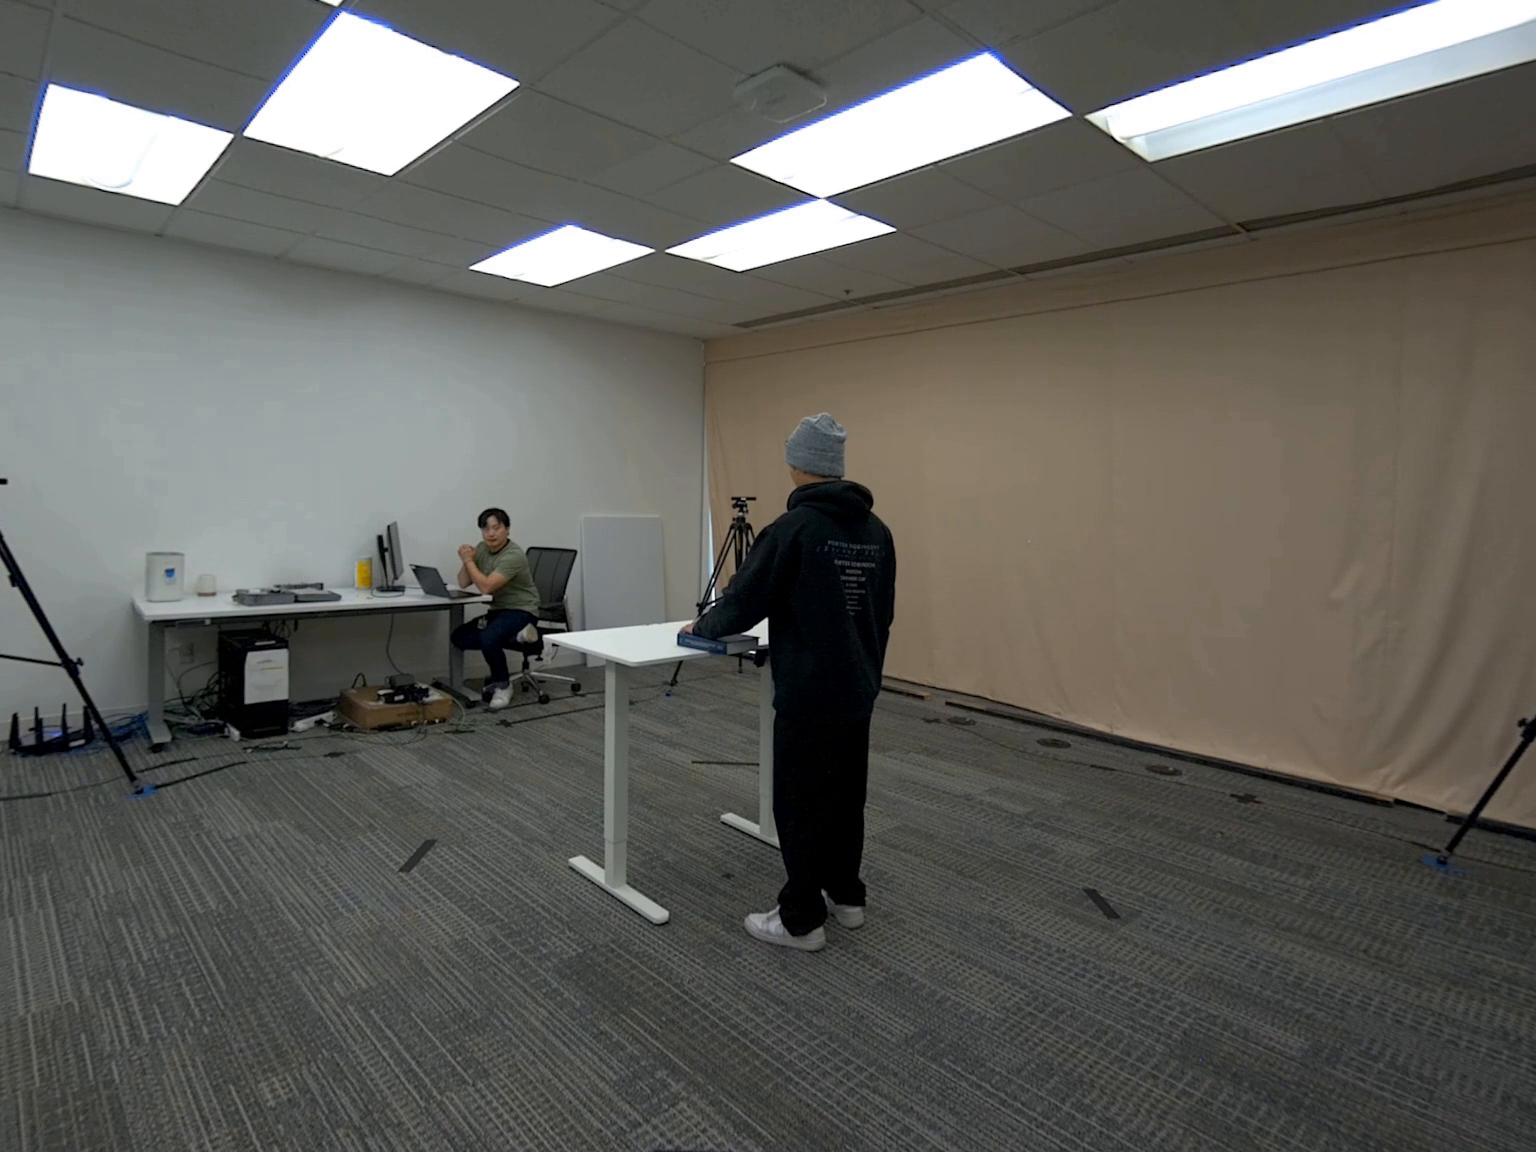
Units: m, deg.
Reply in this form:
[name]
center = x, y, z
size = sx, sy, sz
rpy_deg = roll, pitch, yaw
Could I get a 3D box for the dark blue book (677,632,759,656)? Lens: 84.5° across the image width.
[dark blue book]
center = -0.163, 0.226, 2.864
size = 0.251, 0.045, 0.160
rpy_deg = 5, 7, 41
